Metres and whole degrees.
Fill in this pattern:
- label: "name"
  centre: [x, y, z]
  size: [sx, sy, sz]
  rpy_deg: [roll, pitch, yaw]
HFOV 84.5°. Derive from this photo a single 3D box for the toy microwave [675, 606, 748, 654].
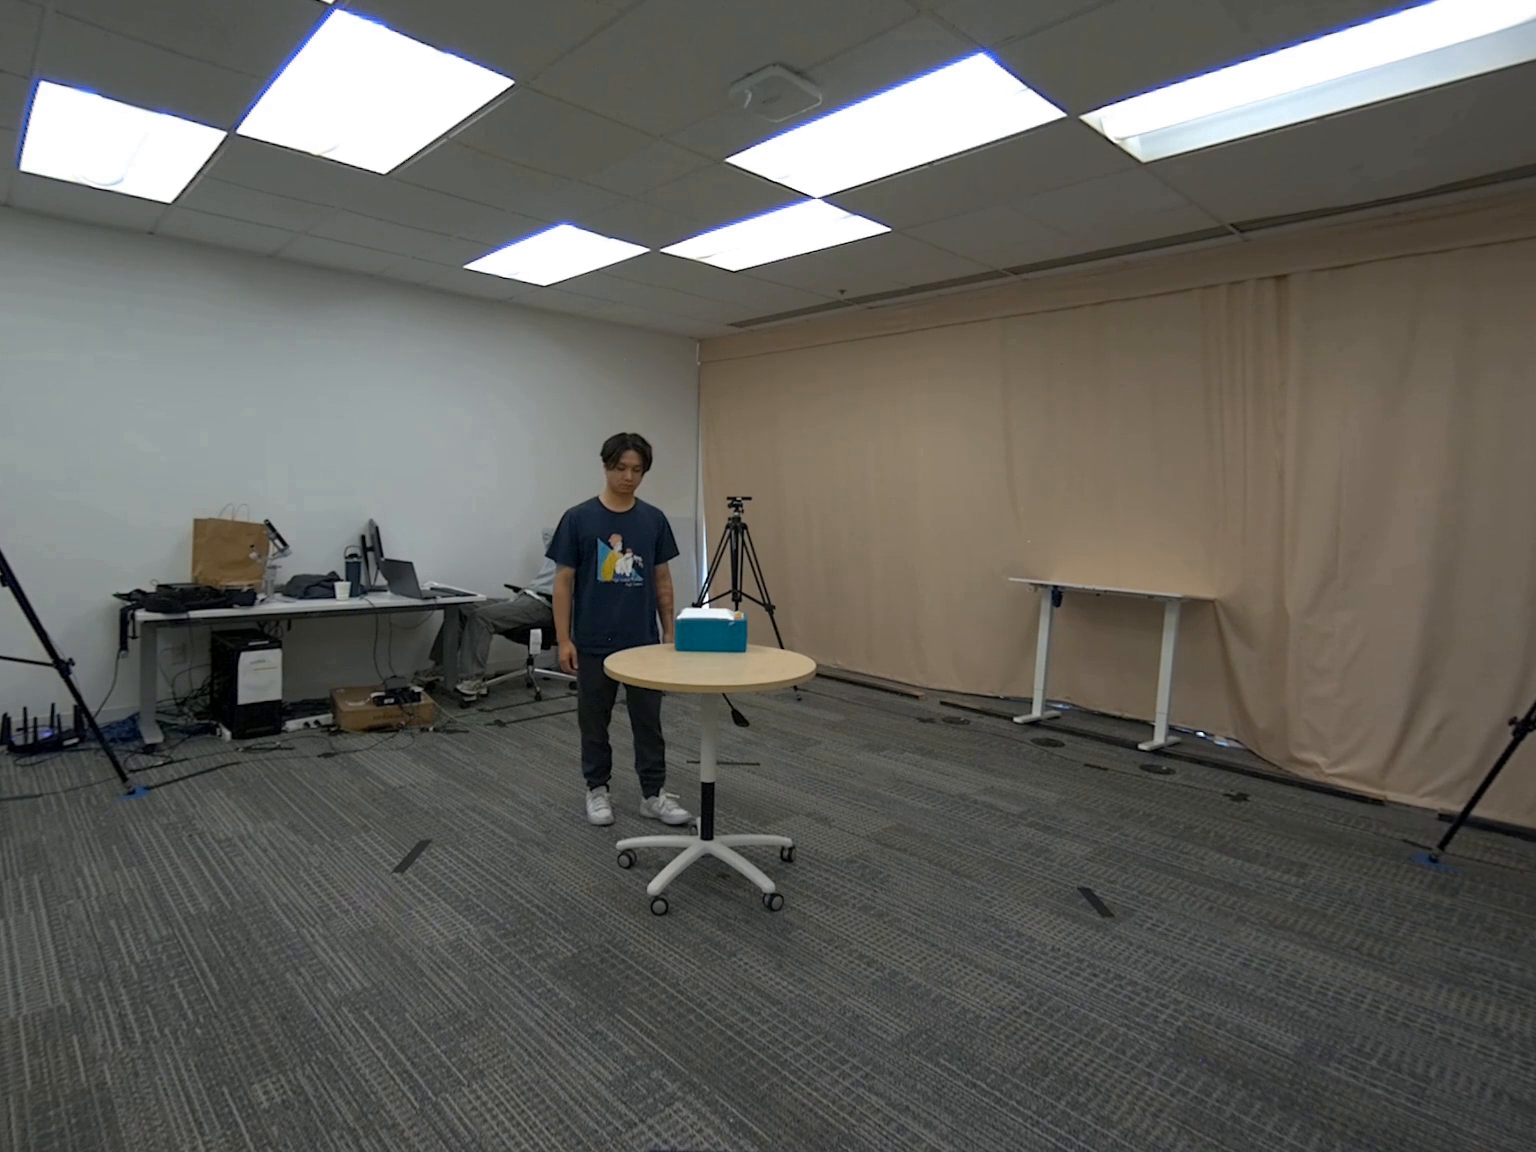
- label: "toy microwave"
  centre: [-0.231, 0.212, 3.307]
  size: [0.286, 0.152, 0.185]
  rpy_deg: [0, 6, 1]
